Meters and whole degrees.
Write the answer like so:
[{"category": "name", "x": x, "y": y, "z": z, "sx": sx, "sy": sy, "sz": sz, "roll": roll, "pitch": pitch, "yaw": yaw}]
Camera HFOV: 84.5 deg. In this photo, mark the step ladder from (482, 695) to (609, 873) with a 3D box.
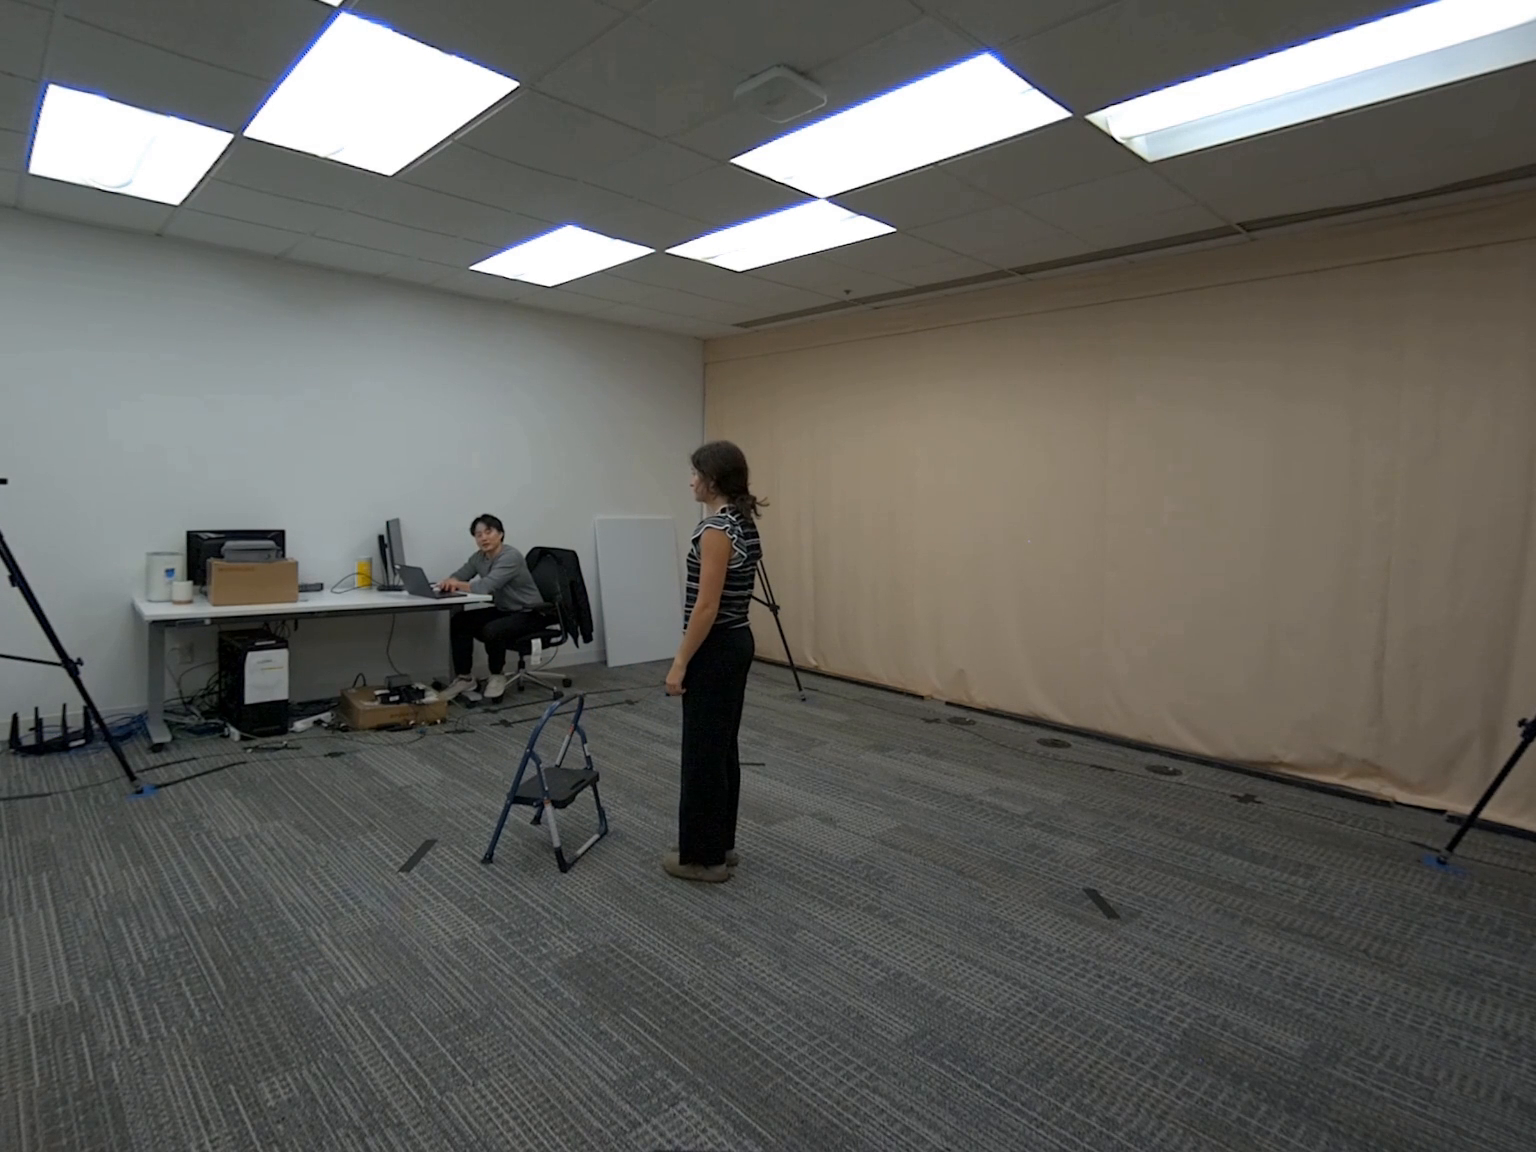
[{"category": "step ladder", "x": -0.867, "y": 0.766, "z": 3.318, "sx": 0.353, "sy": 0.604, "sz": 0.427, "roll": 3, "pitch": 4, "yaw": 12}]
